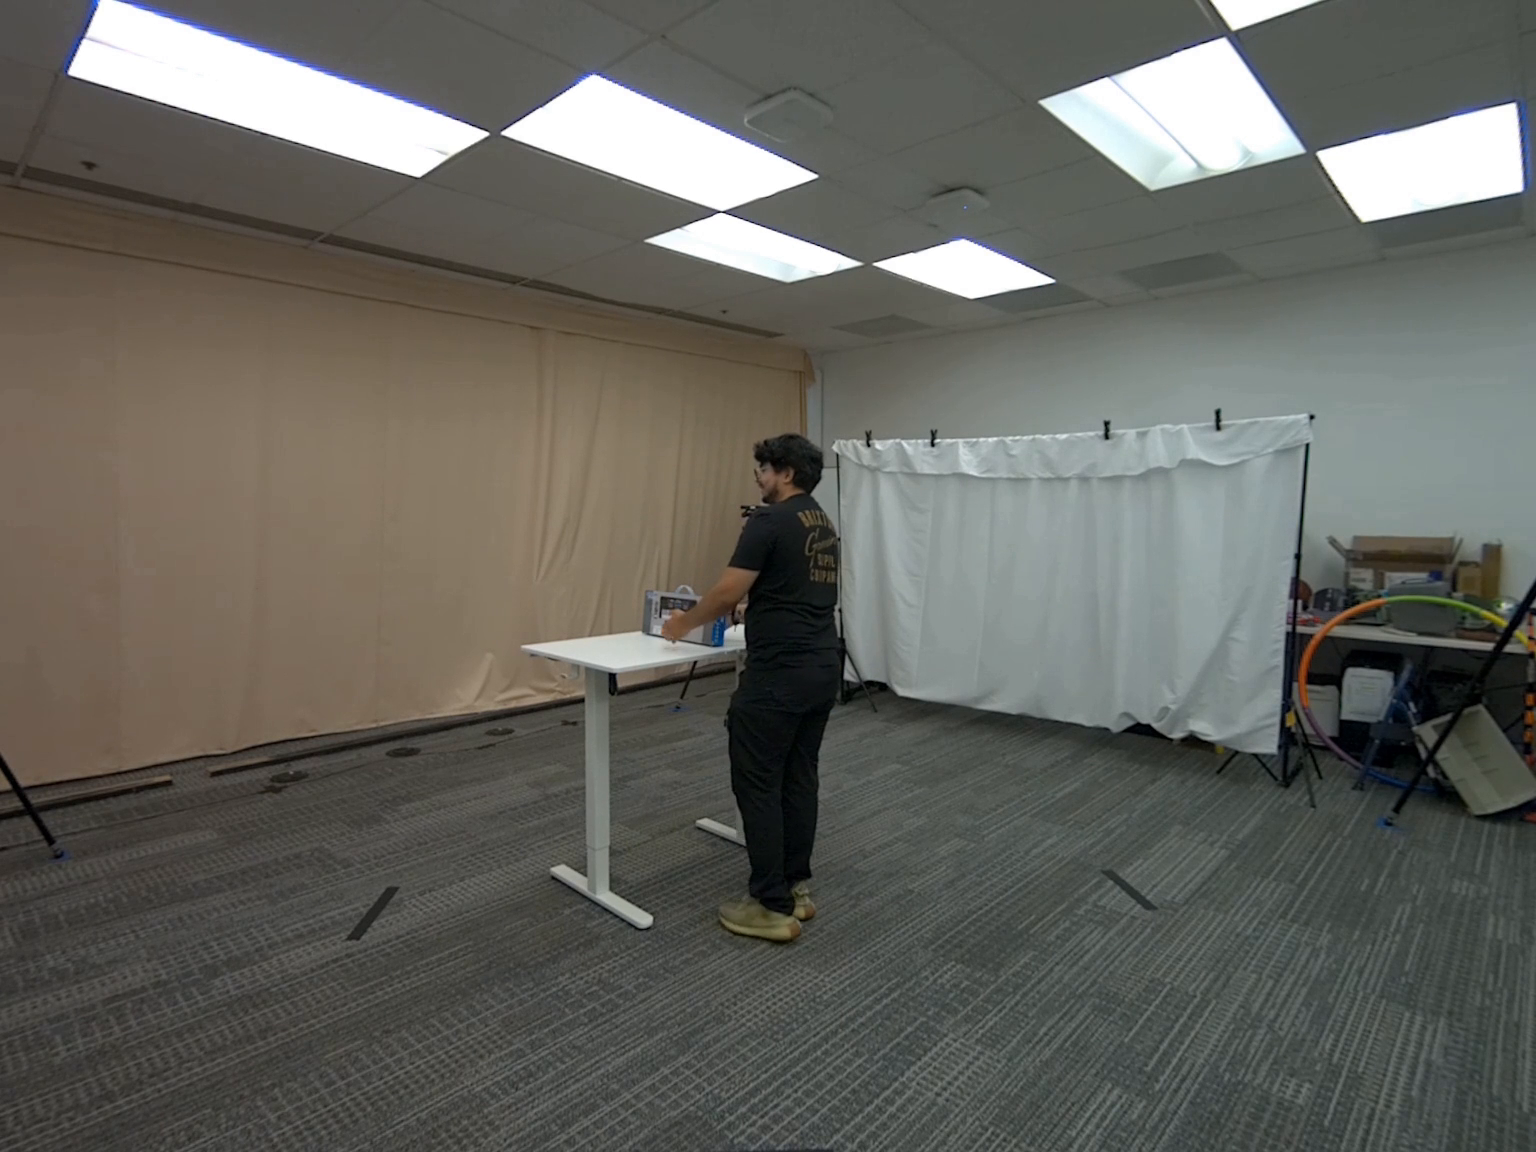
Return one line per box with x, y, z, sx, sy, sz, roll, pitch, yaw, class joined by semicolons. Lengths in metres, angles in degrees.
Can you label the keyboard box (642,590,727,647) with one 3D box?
-0.323;0.158;3.220;0.057;0.176;0.451;5;-1;-43;keyboard box
